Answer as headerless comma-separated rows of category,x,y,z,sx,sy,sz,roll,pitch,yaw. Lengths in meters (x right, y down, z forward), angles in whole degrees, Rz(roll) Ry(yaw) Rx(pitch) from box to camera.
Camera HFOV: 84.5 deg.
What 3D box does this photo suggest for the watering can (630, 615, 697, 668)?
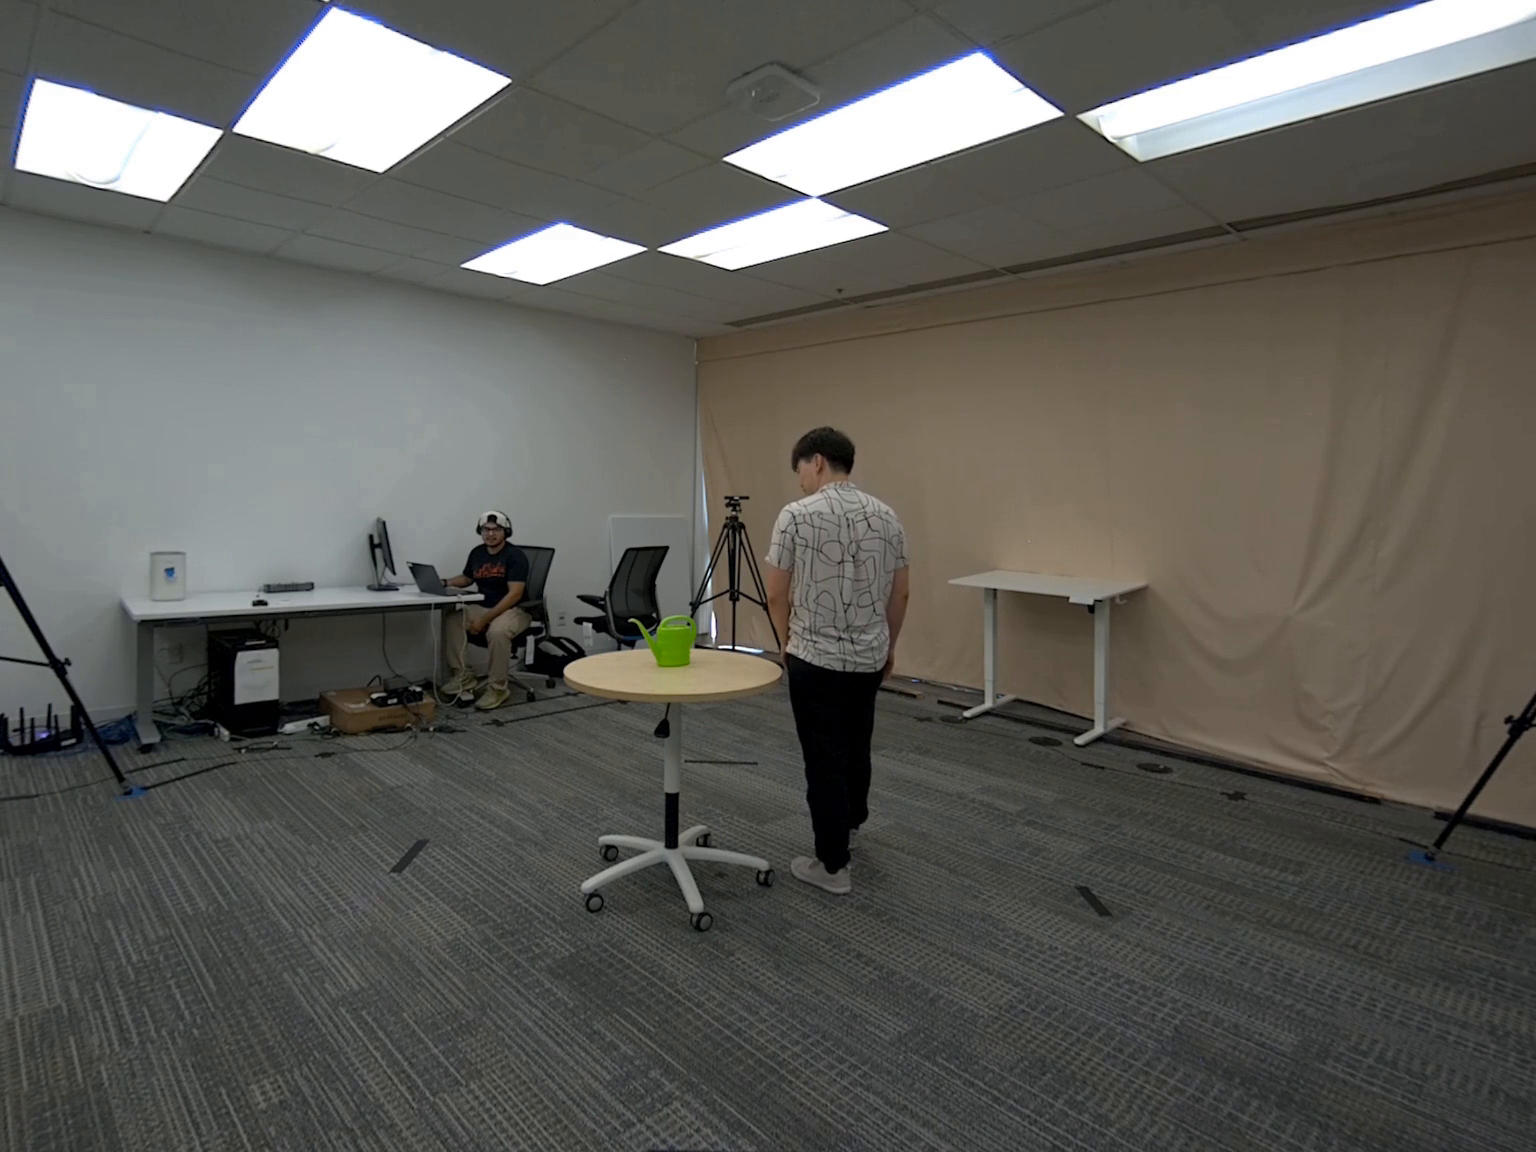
watering can,-0.384,0.232,3.032,0.273,0.177,0.100,1,0,-23
